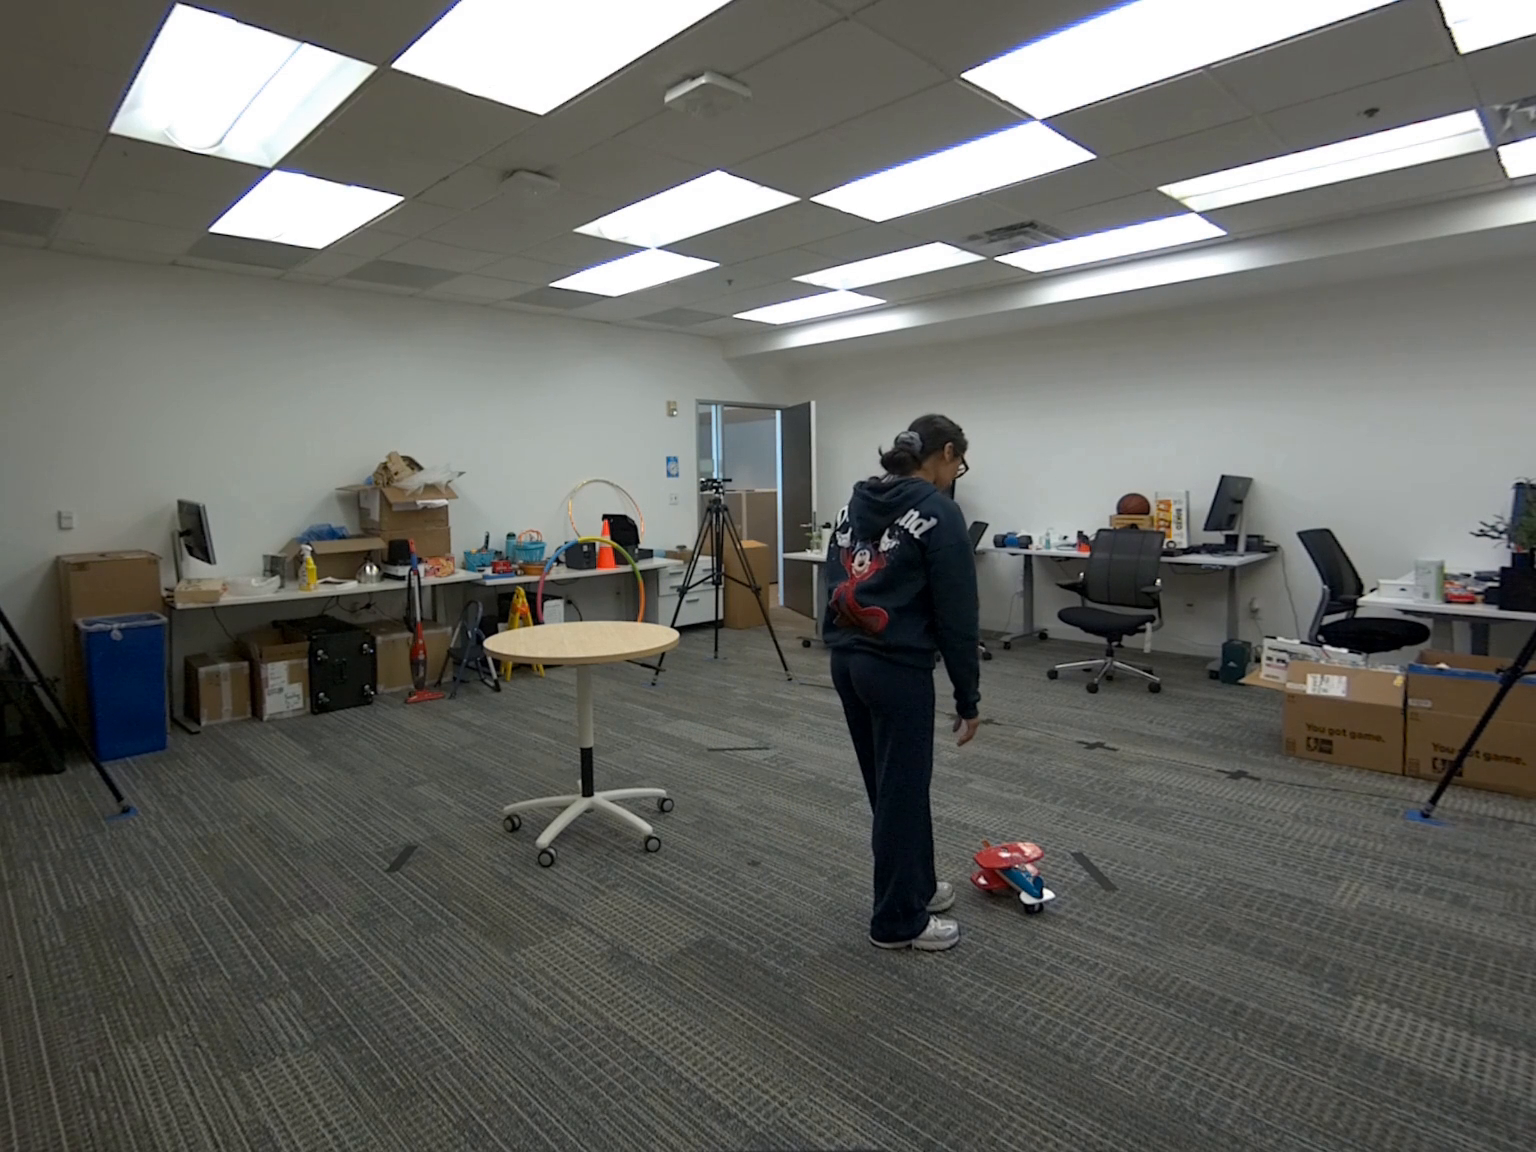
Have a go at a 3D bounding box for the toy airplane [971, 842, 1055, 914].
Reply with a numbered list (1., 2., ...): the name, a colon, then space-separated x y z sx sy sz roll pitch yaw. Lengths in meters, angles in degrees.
1. toy airplane: 0.834 0.991 2.799 0.267 0.156 0.244 2 6 42
